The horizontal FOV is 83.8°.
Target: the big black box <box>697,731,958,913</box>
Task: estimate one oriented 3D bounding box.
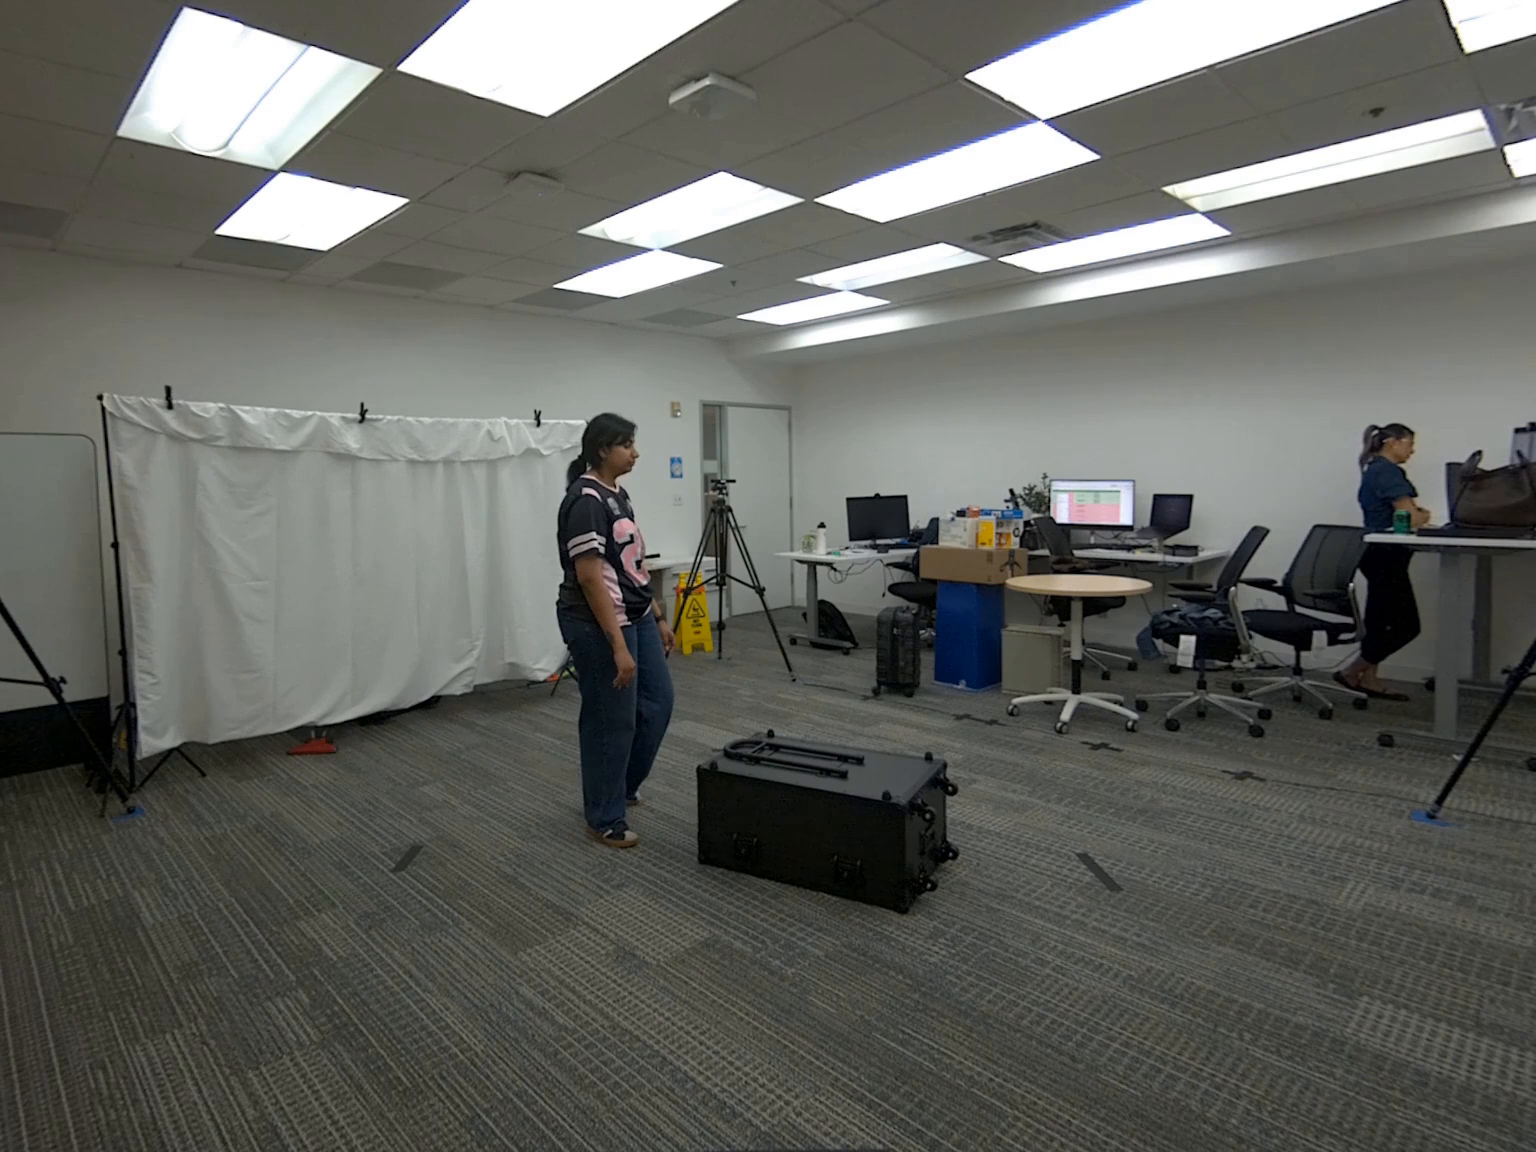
[{"bbox_3d":[0.235,0.847,3.098,0.884,0.394,0.510,3,7,29],"label":"big black box"}]
